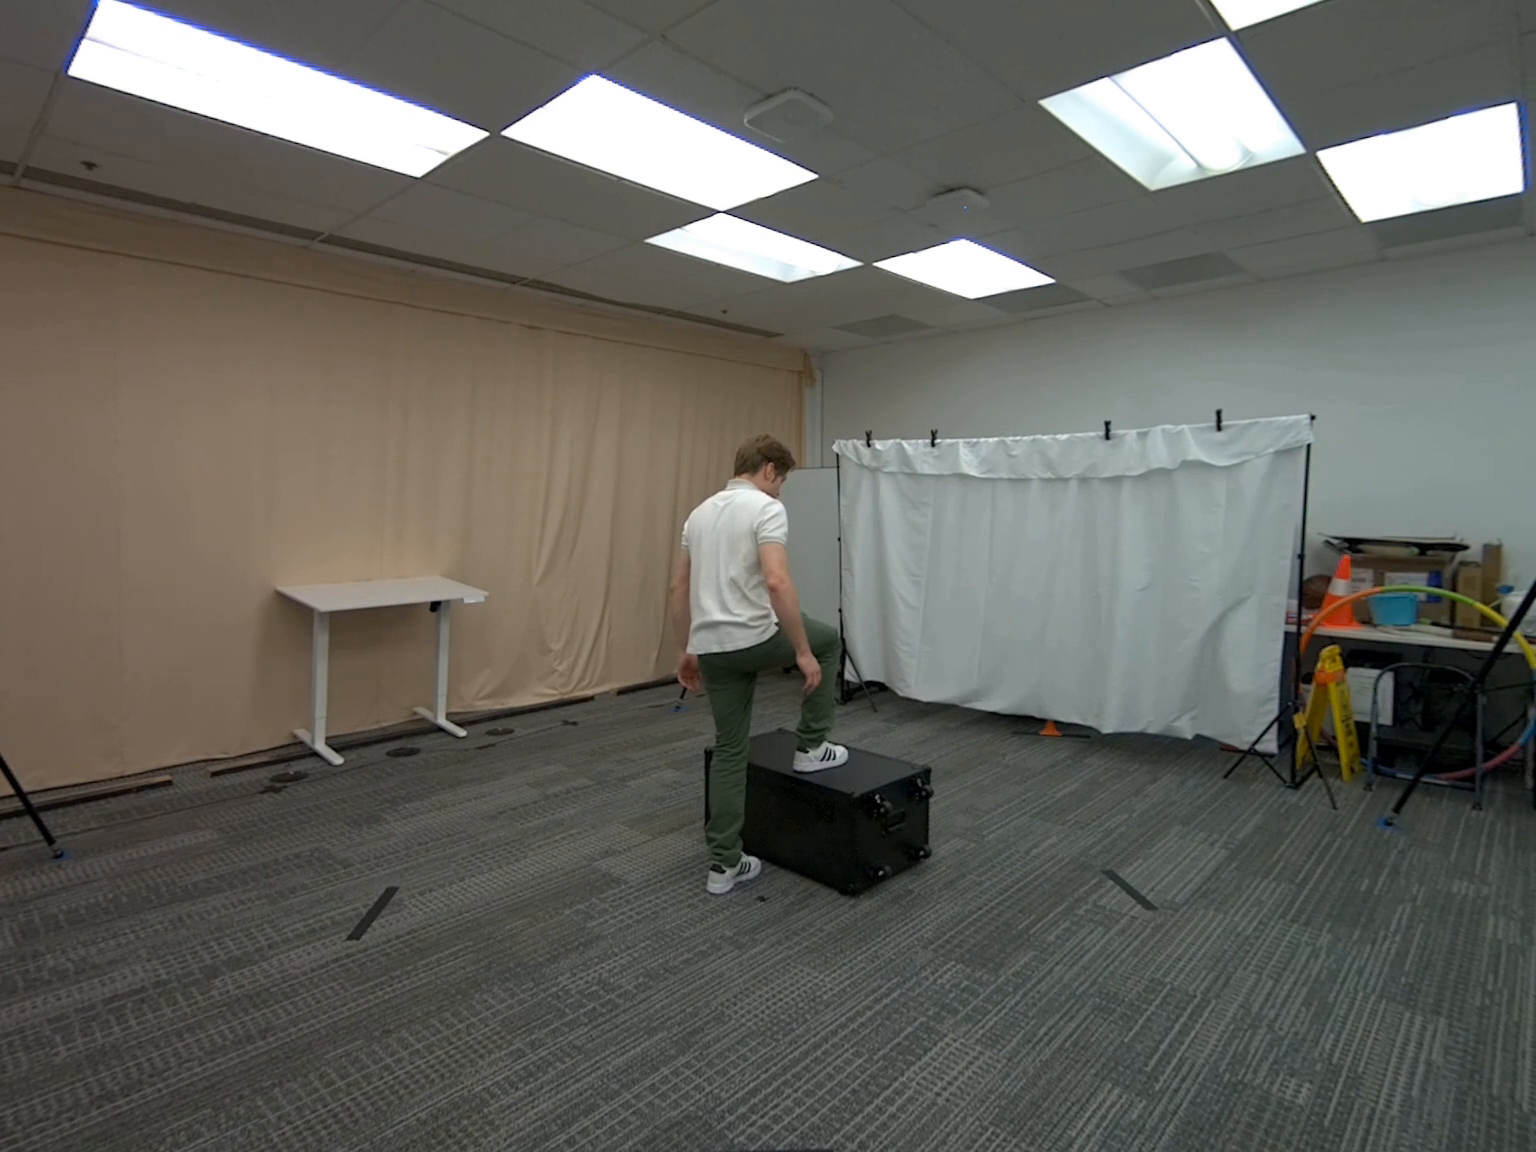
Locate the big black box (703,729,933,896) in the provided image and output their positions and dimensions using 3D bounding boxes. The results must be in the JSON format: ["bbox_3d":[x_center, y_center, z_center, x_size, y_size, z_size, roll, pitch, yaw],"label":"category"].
[{"bbox_3d":[0.207,0.920,3.375,0.890,0.395,0.505,3,5,44],"label":"big black box"}]
